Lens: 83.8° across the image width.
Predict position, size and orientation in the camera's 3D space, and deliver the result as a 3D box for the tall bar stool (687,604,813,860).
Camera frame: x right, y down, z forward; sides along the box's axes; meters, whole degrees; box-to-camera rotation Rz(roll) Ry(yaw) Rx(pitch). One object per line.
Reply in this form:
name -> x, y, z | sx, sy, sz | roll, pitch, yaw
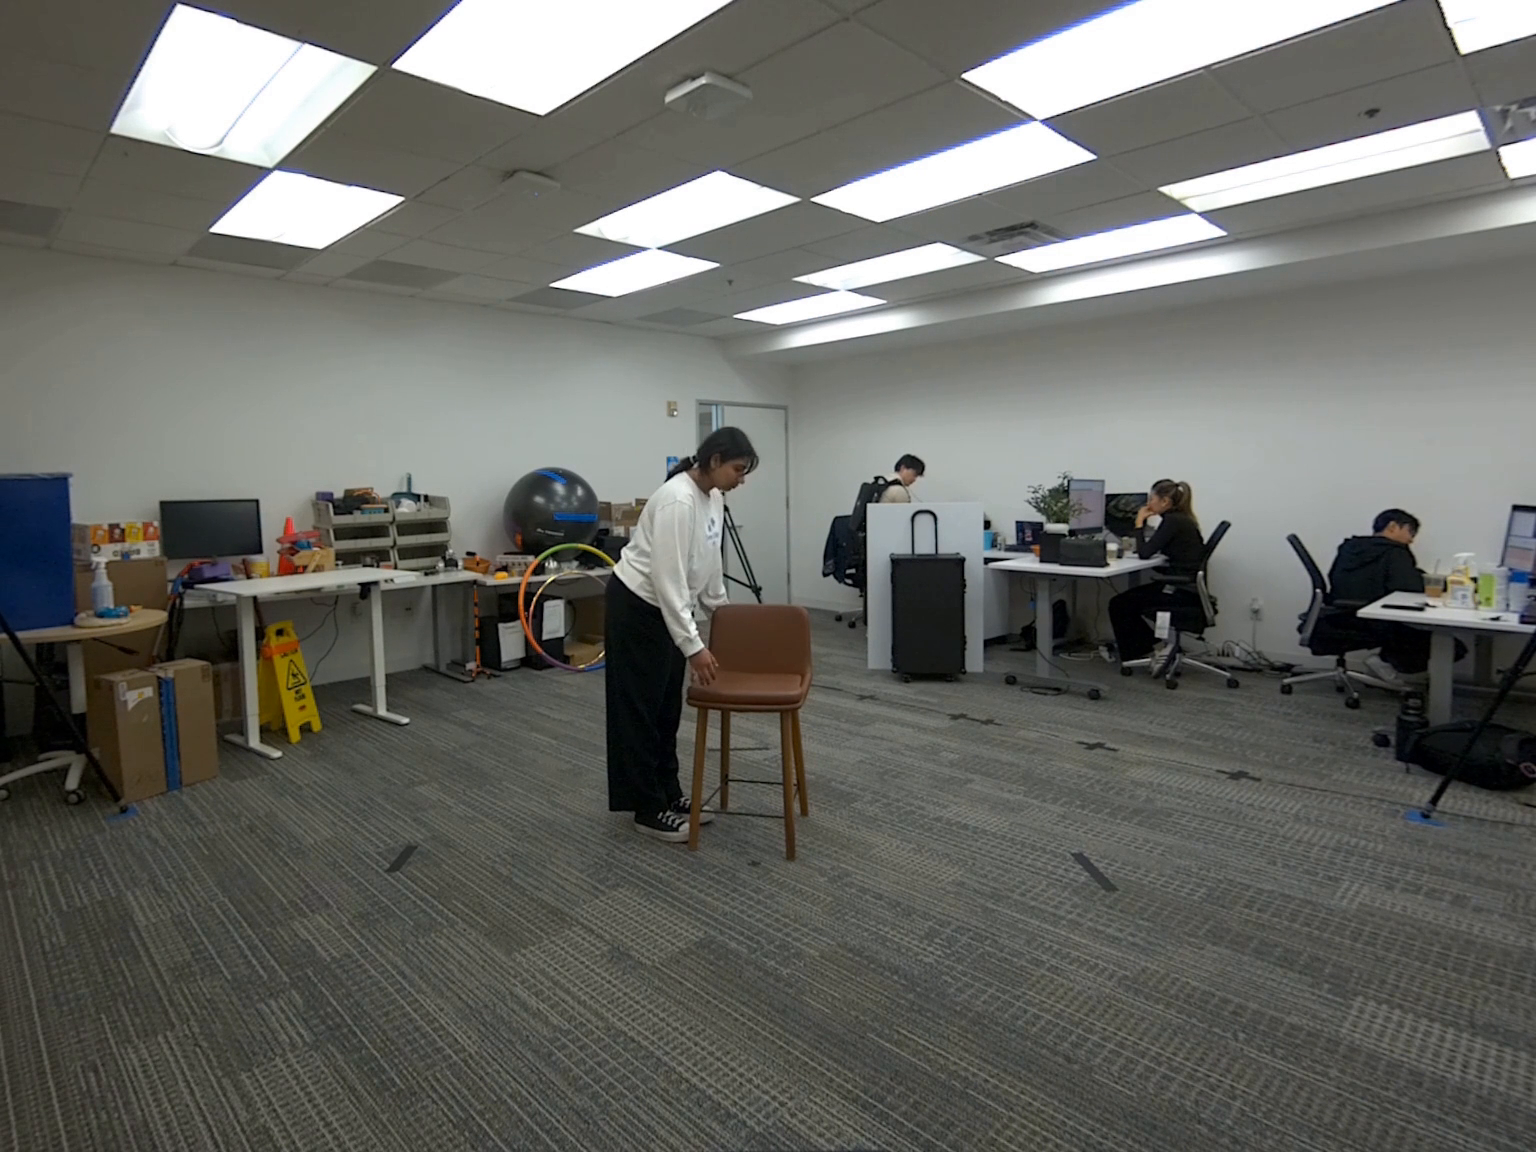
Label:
tall bar stool -> -0.064, 0.577, 3.368 | 0.463, 0.889, 0.461 | 0, 2, 14
